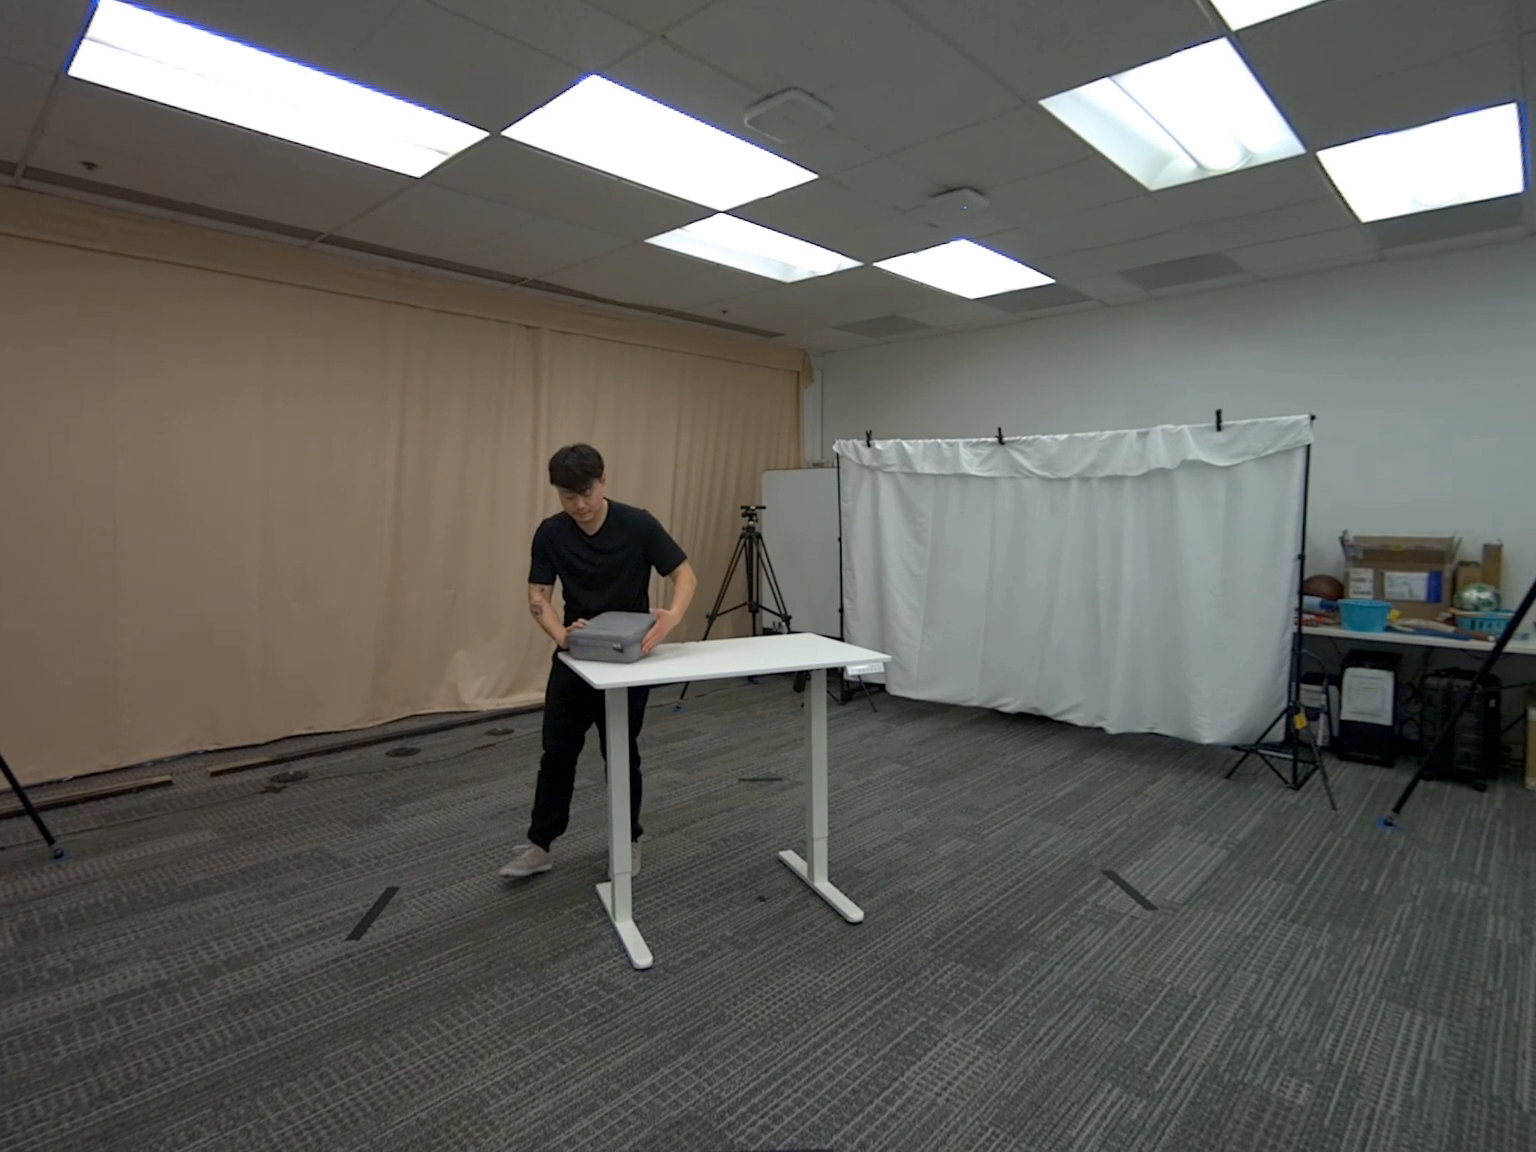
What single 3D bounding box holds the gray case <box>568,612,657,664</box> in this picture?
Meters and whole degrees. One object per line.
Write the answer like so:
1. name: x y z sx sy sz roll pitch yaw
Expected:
1. gray case: -0.513 0.205 2.874 0.263 0.103 0.256 0 12 23
